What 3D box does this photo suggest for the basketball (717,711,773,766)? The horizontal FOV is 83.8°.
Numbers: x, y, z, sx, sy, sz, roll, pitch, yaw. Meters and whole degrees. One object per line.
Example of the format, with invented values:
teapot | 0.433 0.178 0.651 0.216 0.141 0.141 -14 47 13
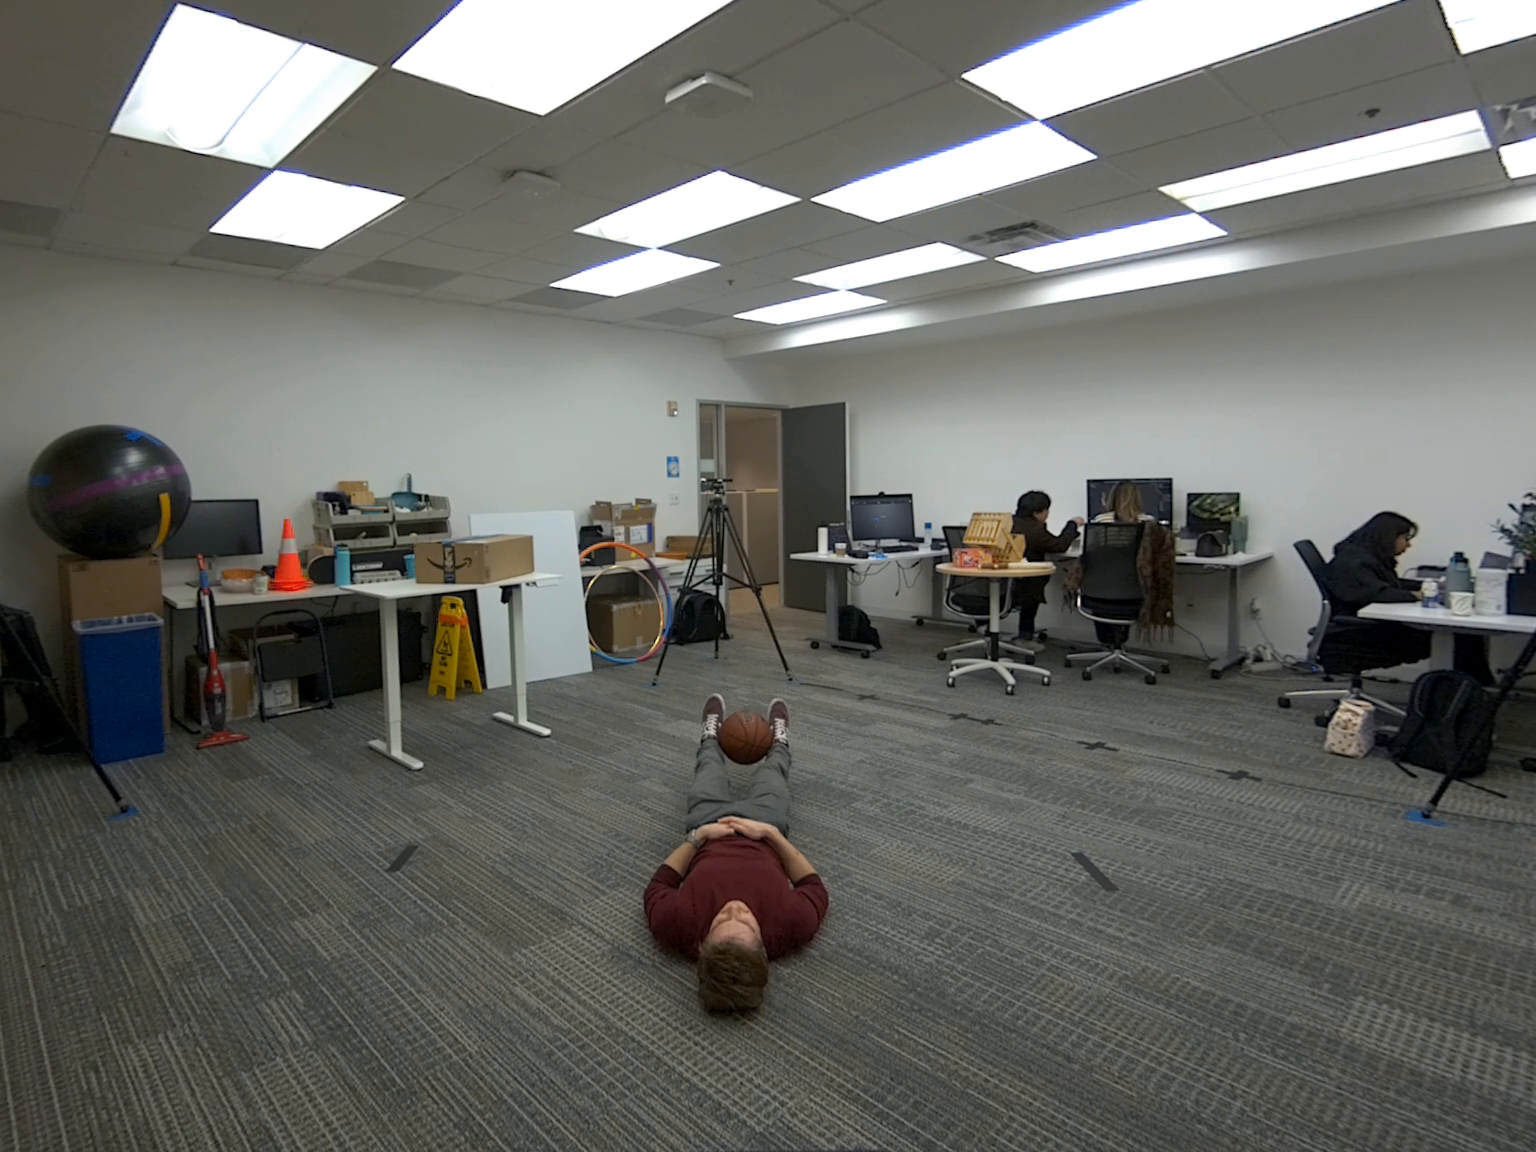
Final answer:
basketball | -0.098 0.717 3.834 0.236 0.236 0.236 0 1 -2
